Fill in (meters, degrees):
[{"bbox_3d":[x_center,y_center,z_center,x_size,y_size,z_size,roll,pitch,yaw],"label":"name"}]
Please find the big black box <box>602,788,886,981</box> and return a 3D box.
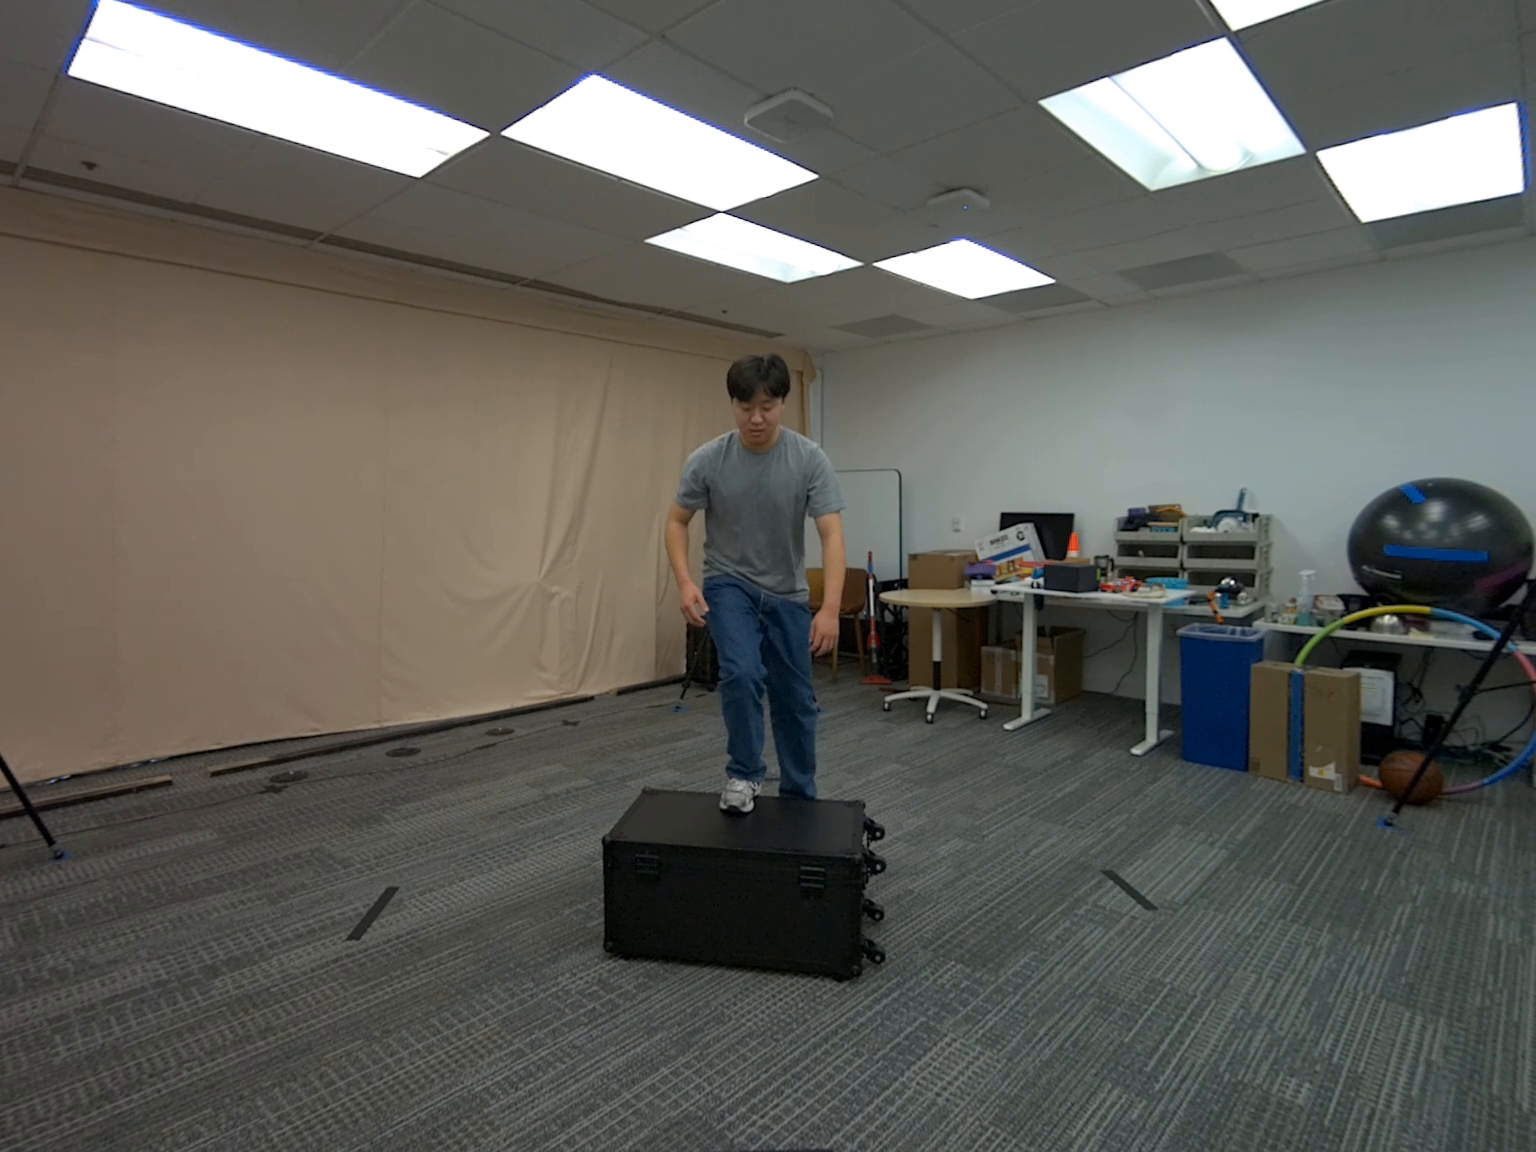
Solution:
[{"bbox_3d":[-0.054,0.970,2.733,0.872,0.395,0.516,1,3,10],"label":"big black box"}]
